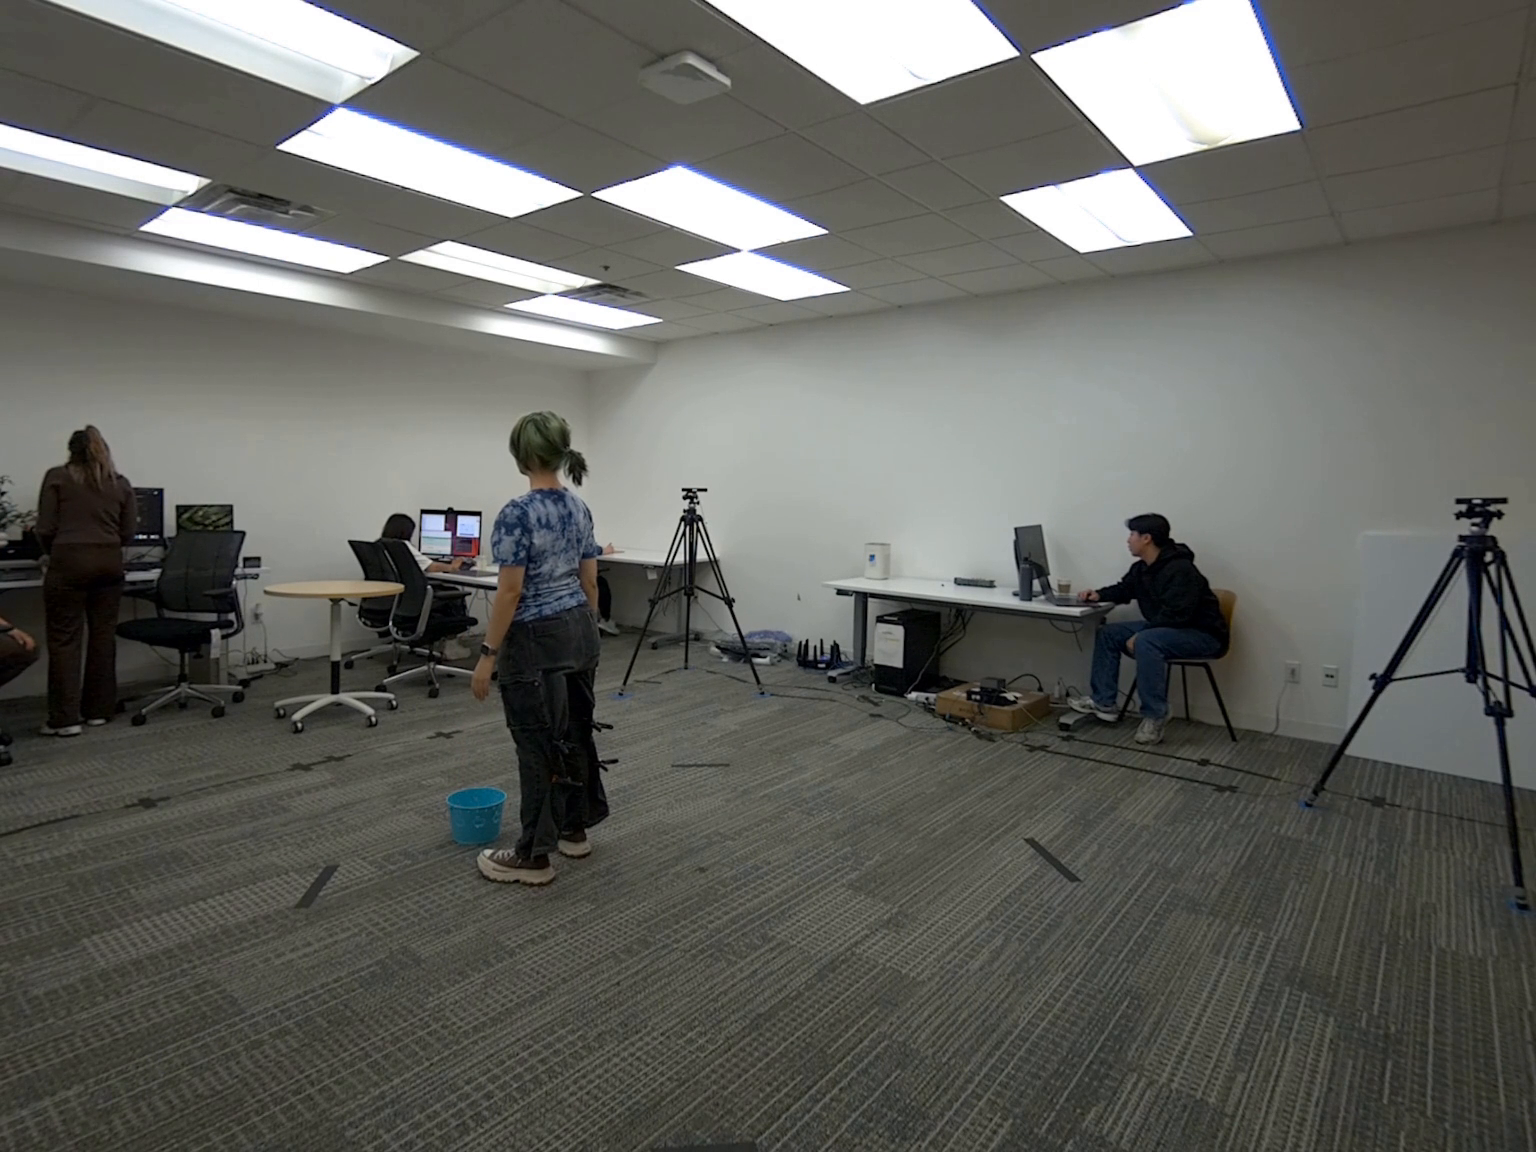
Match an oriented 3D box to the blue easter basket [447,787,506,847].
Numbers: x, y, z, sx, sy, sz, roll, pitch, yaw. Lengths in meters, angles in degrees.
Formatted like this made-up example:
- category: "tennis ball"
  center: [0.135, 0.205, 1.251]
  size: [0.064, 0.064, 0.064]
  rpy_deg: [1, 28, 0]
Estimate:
- category: "blue easter basket"
  center: [-1.174, 0.951, 3.387]
  size: [0.243, 0.155, 0.245]
  rpy_deg: [2, 5, -2]
